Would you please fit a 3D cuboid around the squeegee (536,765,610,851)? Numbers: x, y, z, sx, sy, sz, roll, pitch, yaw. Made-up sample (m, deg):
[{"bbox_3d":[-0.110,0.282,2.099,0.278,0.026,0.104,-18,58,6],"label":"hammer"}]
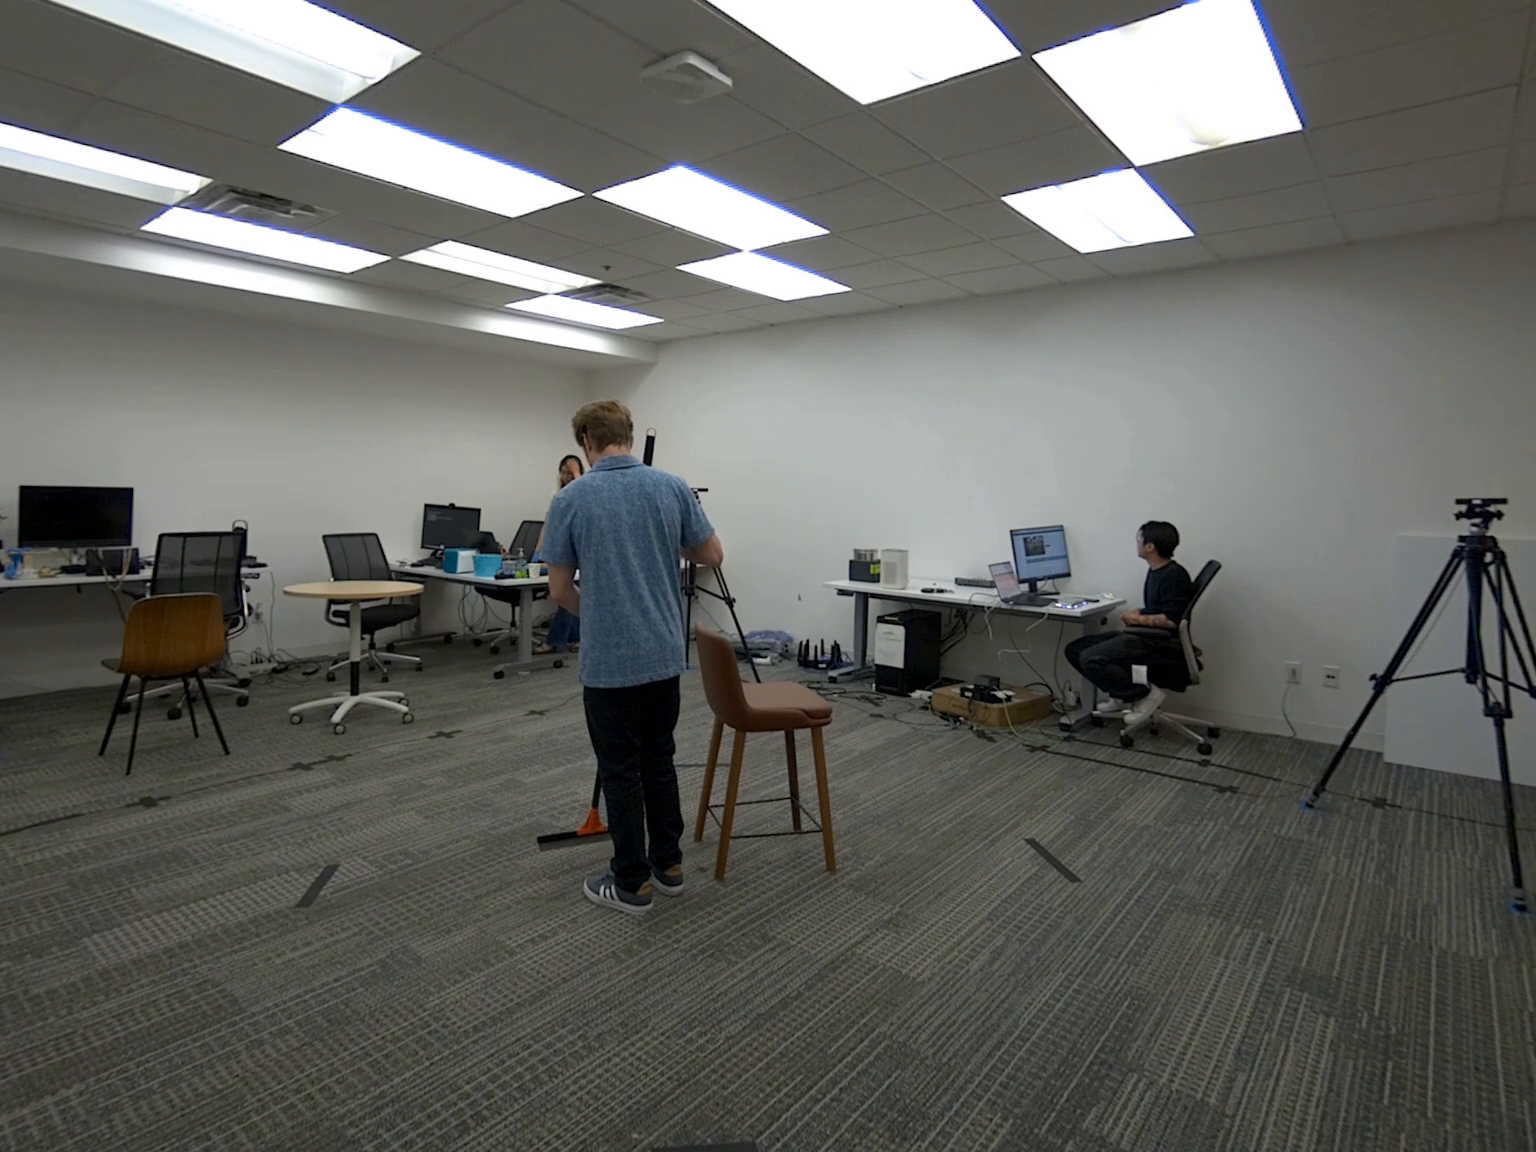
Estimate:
[{"bbox_3d":[-0.603,0.227,3.104,0.425,1.530,0.055,0,6,-33],"label":"squeegee"}]
